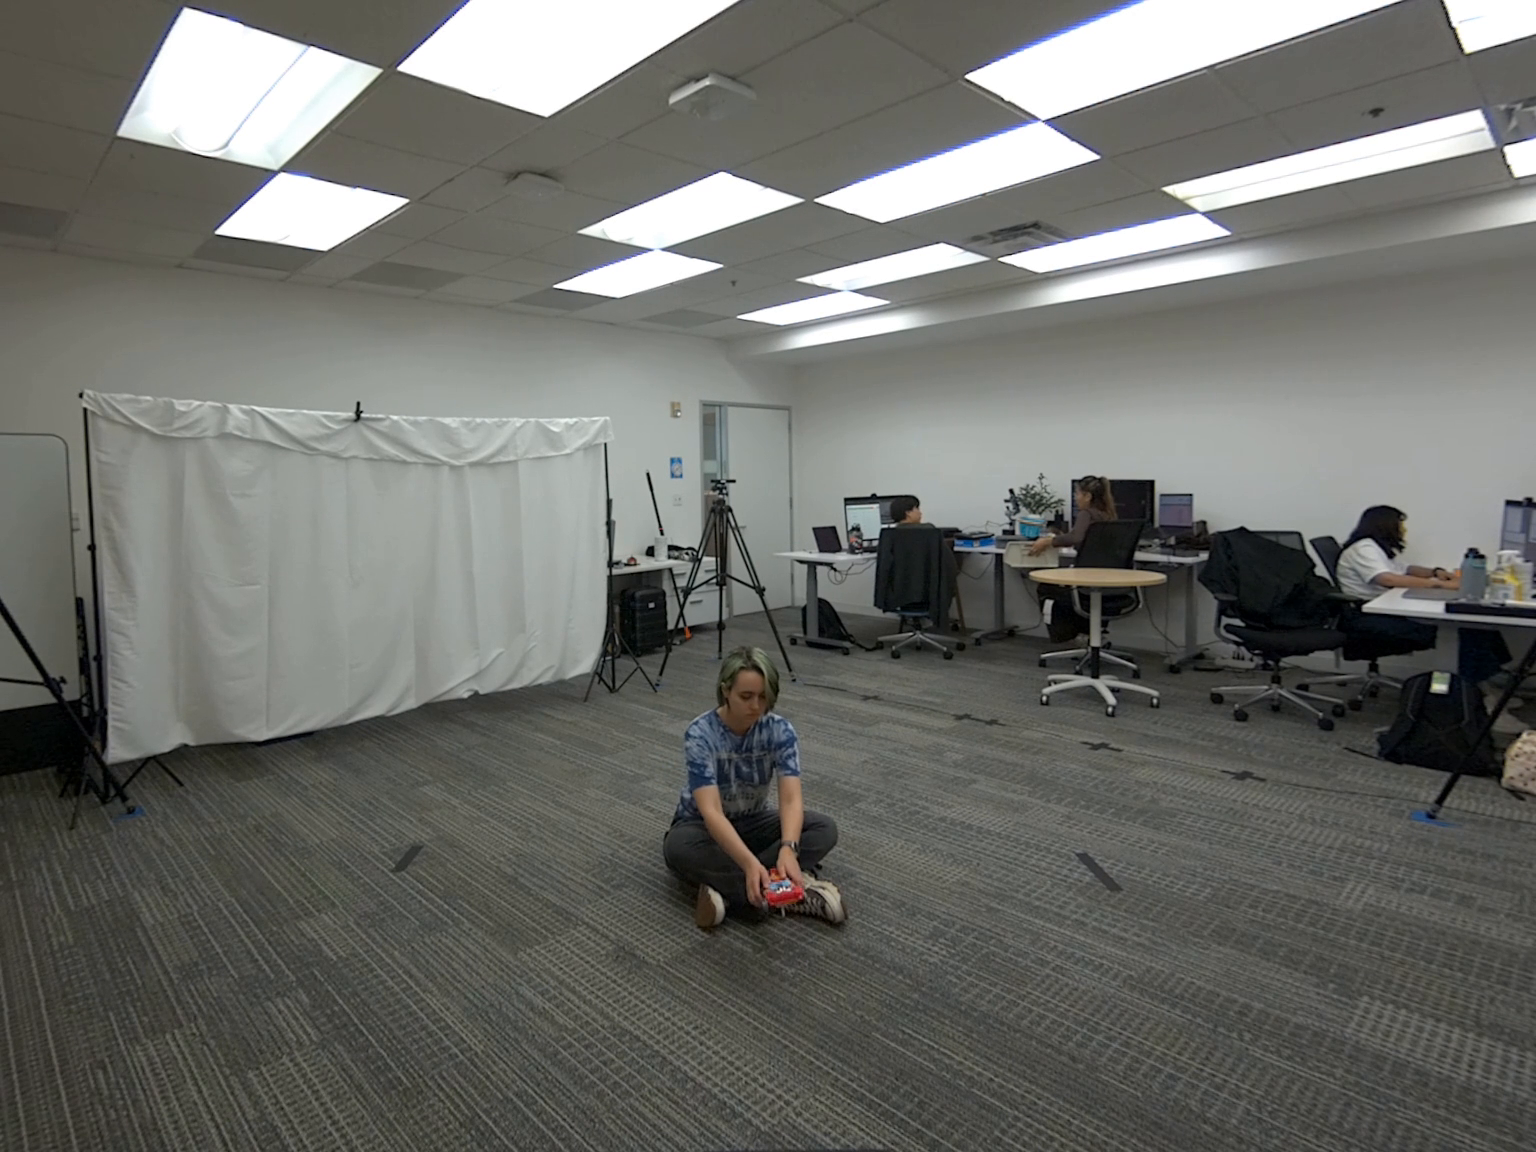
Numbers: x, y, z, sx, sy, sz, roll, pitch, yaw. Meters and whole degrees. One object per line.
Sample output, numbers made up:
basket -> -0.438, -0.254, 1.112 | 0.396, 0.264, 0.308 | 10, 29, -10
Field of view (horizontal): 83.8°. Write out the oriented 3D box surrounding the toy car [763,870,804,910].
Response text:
toy car -> 0.029, 0.936, 2.521 | 0.129, 0.083, 0.256 | -8, 0, -12
